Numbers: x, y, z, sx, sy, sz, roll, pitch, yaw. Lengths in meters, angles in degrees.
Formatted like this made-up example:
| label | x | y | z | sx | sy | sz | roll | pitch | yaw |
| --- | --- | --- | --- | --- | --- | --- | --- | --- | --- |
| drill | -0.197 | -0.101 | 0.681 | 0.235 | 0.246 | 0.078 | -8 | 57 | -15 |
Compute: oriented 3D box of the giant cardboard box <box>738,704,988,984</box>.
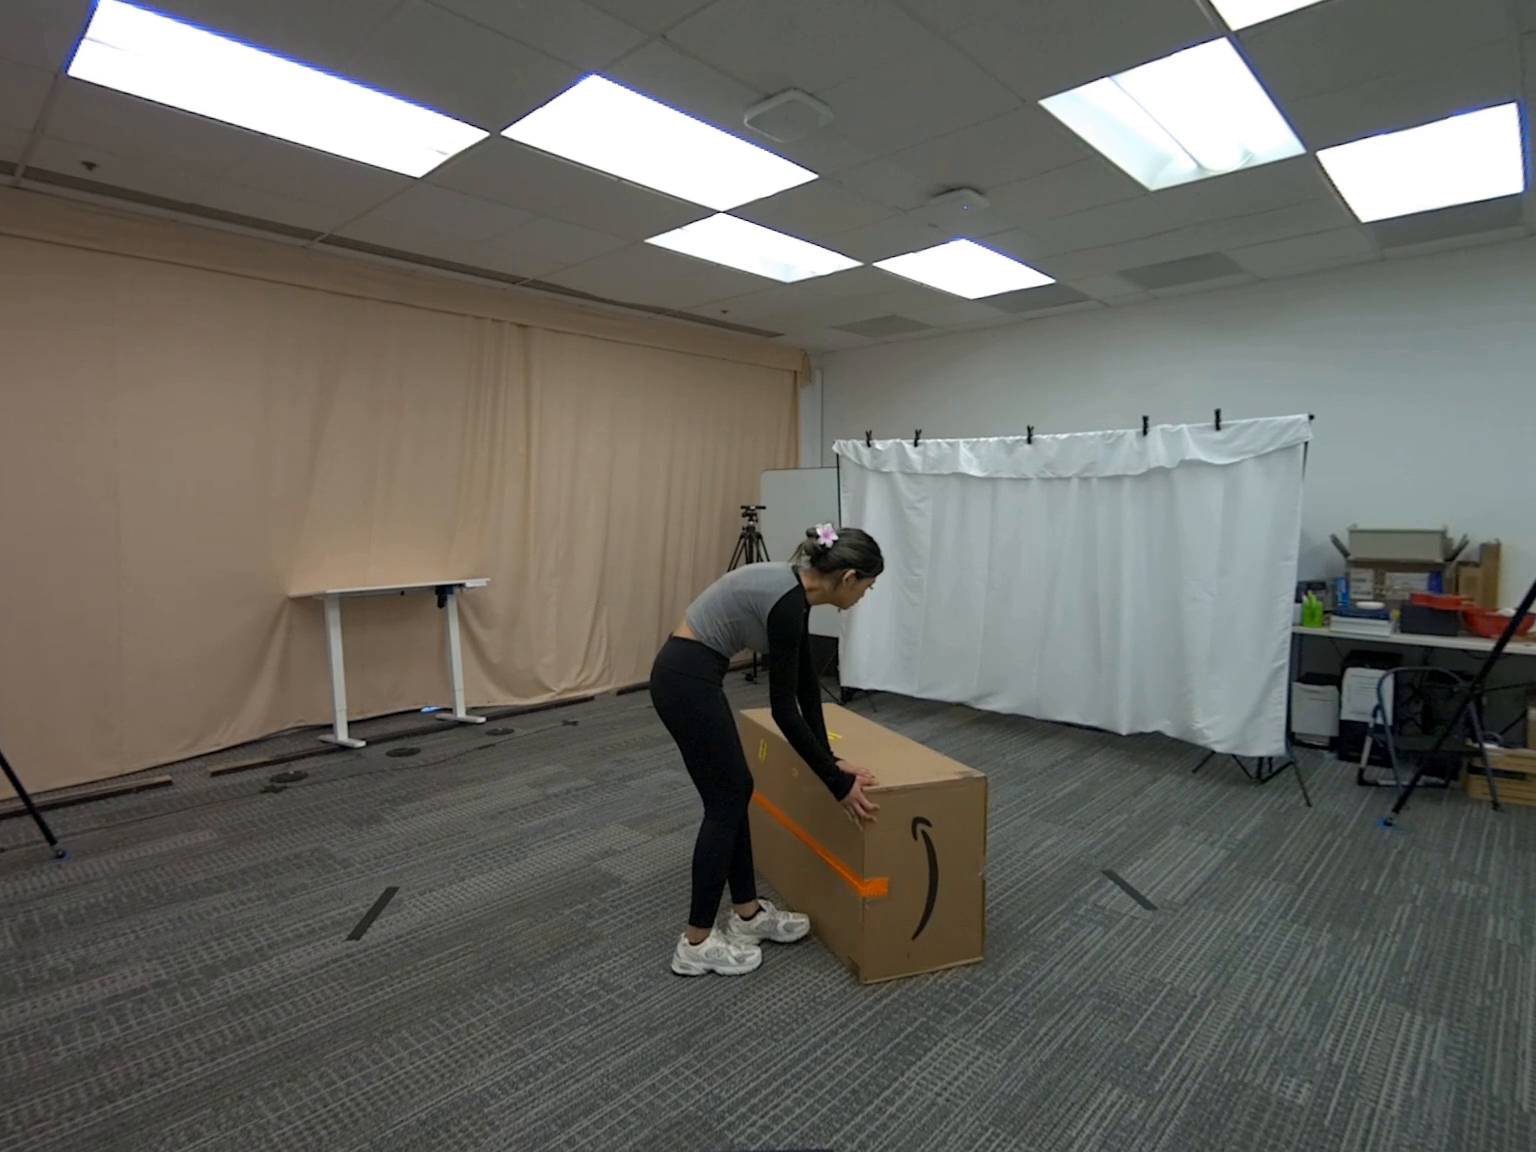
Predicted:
| label | x | y | z | sx | sy | sz | roll | pitch | yaw |
| --- | --- | --- | --- | --- | --- | --- | --- | --- | --- |
| giant cardboard box | 0.275 | 0.853 | 2.974 | 0.437 | 0.582 | 1.052 | -2 | 5 | -23 |
